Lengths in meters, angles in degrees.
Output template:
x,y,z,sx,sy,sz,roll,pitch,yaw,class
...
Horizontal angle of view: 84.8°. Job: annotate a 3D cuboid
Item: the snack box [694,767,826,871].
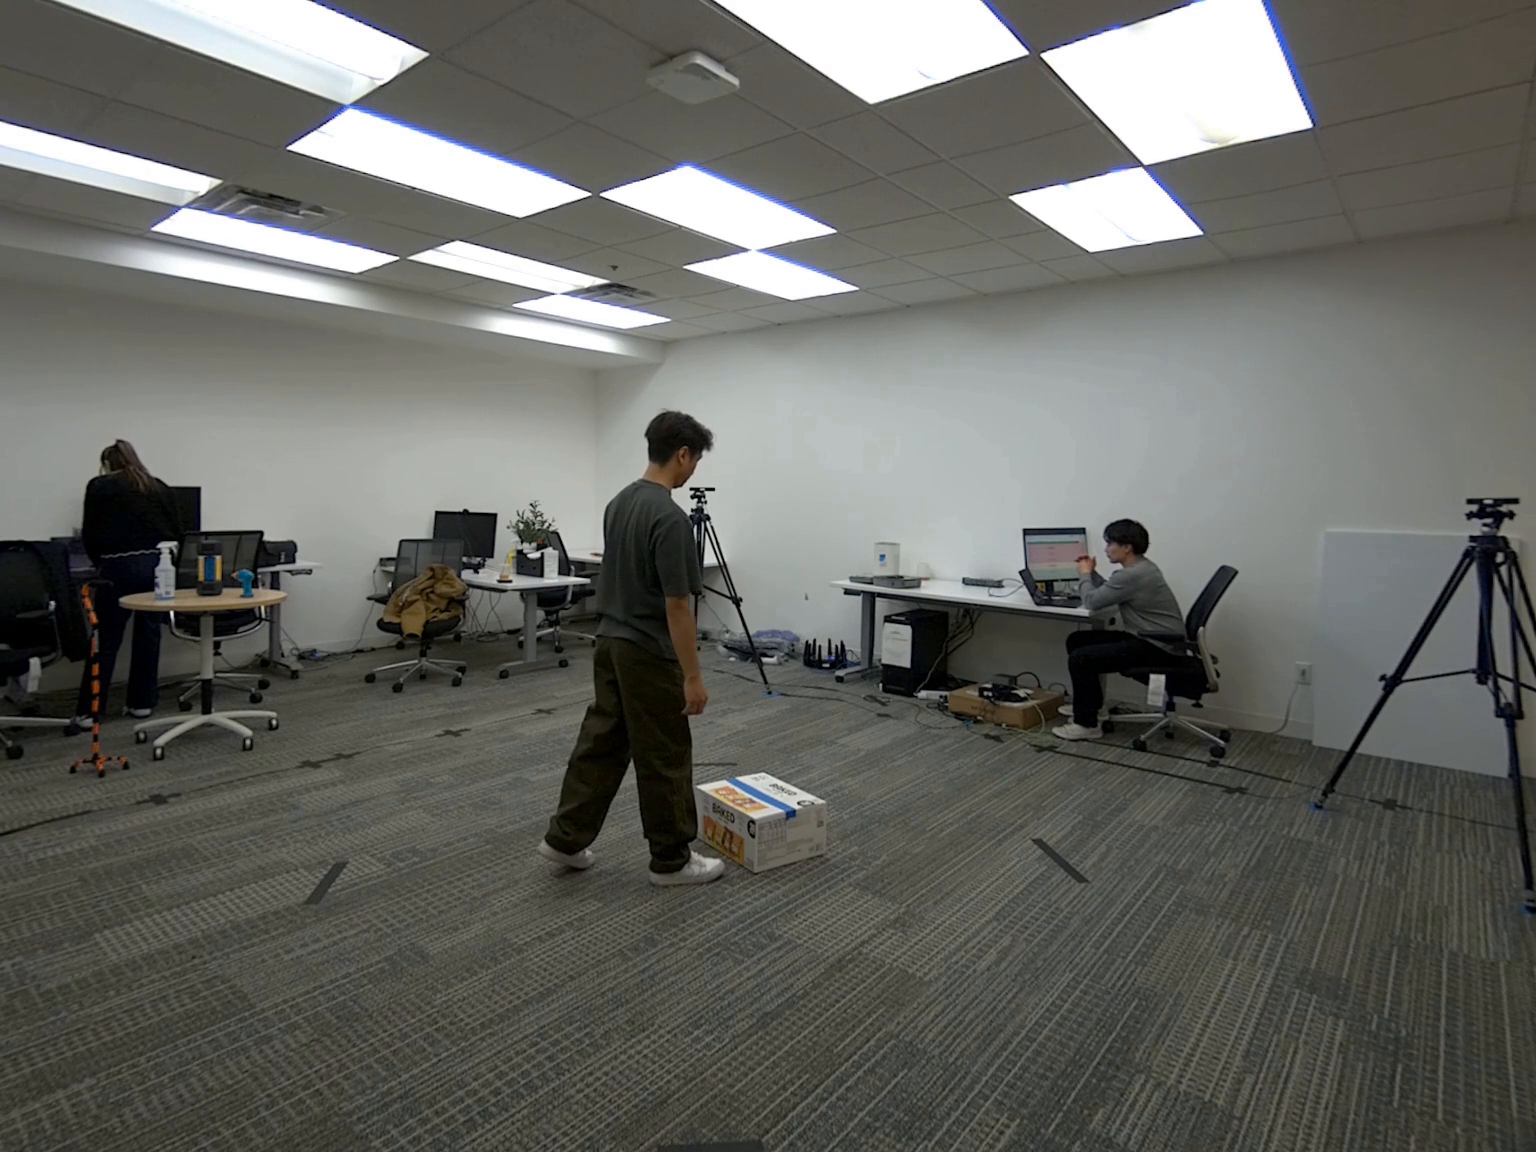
x,y,z,sx,sy,sz,roll,pitch,yaw,class
-0.040,0.942,3.314,0.330,0.205,0.418,-3,6,-36,snack box
